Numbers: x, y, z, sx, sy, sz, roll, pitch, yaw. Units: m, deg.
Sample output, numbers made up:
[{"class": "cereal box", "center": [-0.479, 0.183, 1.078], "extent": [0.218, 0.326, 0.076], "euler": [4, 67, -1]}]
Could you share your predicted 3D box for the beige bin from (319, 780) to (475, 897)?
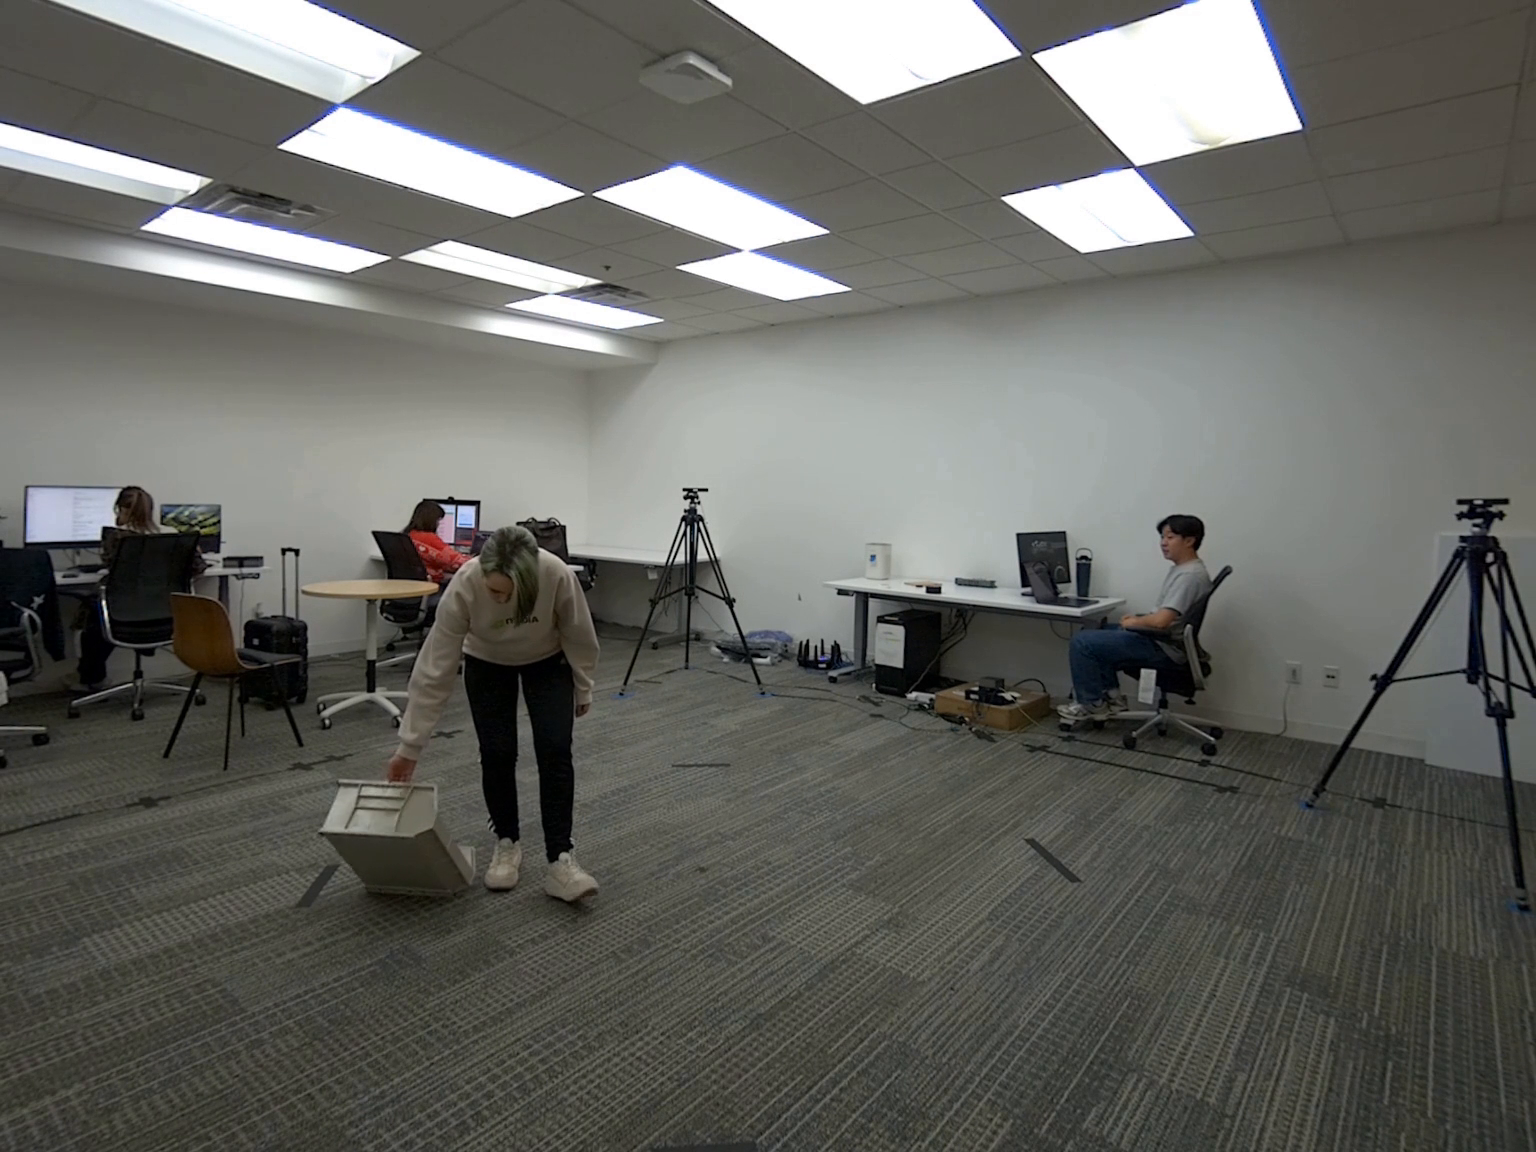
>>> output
[{"class": "beige bin", "center": [-1.216, 0.872, 2.796], "extent": [0.380, 0.409, 0.193], "euler": [1, 46, 7]}]
